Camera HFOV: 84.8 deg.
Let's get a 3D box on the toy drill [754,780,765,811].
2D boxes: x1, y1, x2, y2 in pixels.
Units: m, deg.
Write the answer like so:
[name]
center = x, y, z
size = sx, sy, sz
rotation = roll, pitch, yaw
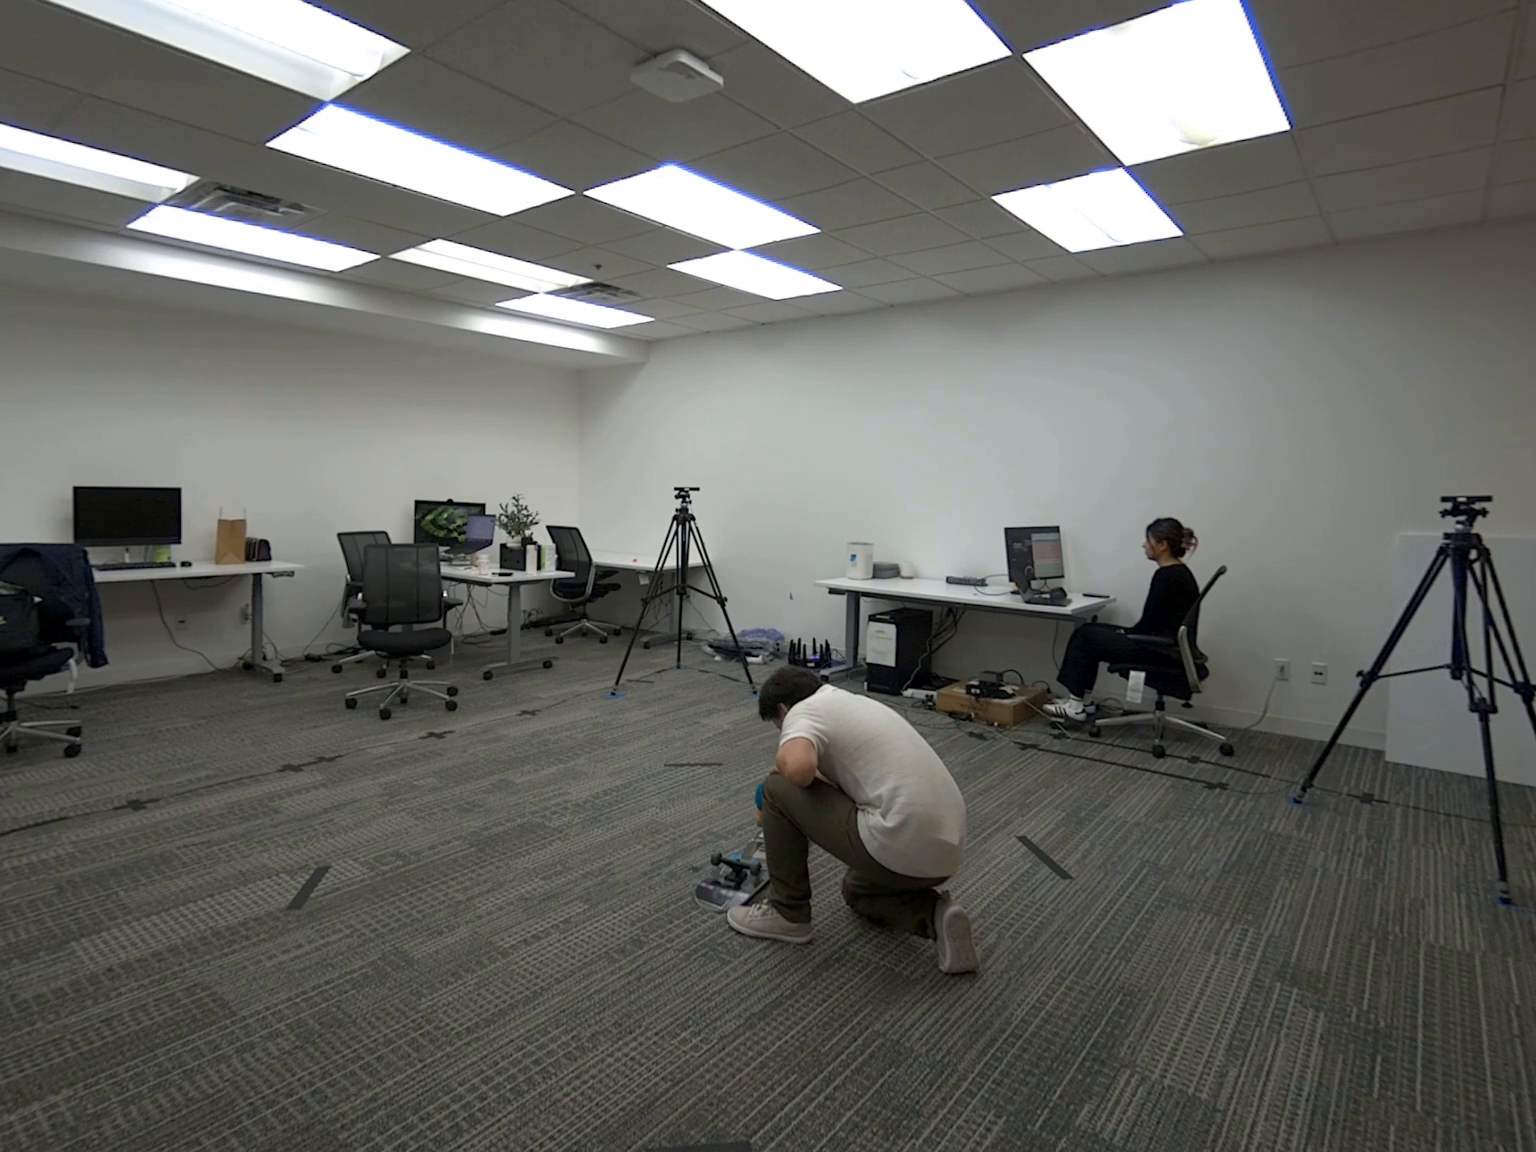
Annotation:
[toy drill]
center = 0.014, 0.851, 3.199
size = 0.147, 0.170, 0.060
rotation = 5, -4, 8
